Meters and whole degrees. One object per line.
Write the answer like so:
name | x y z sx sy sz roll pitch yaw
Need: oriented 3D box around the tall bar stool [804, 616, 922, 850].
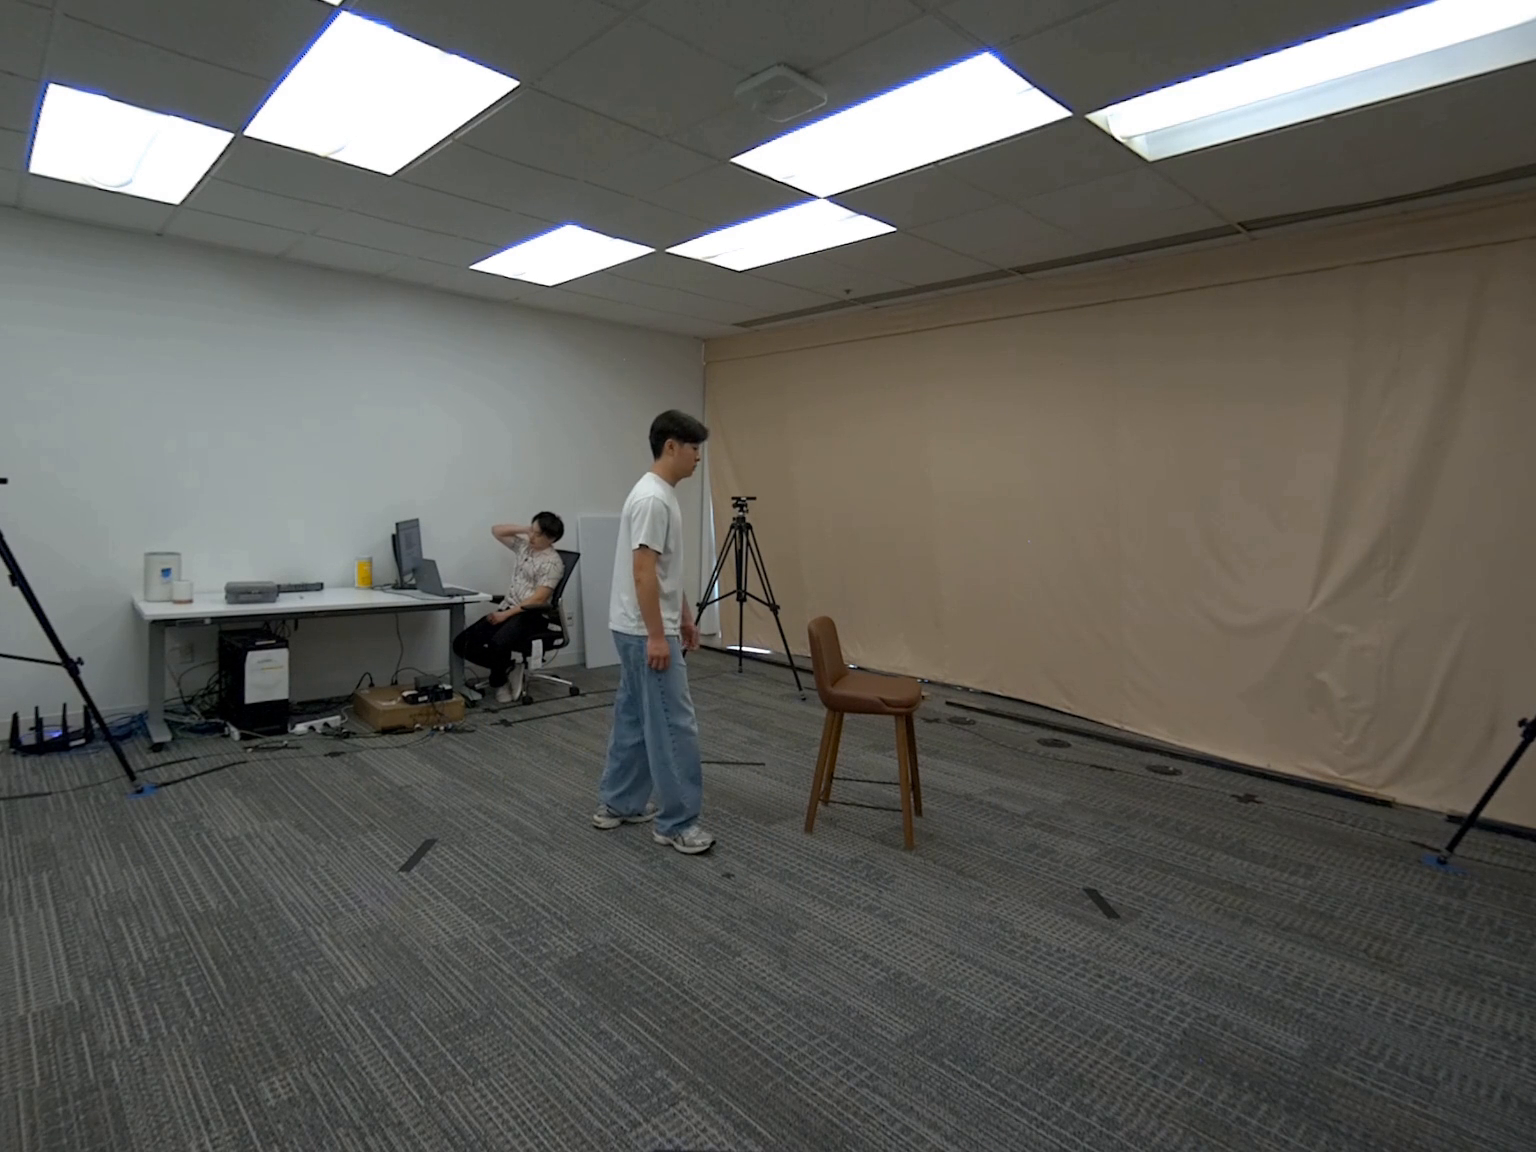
tall bar stool | 0.410 0.635 3.626 0.474 0.889 0.451 0 2 18
